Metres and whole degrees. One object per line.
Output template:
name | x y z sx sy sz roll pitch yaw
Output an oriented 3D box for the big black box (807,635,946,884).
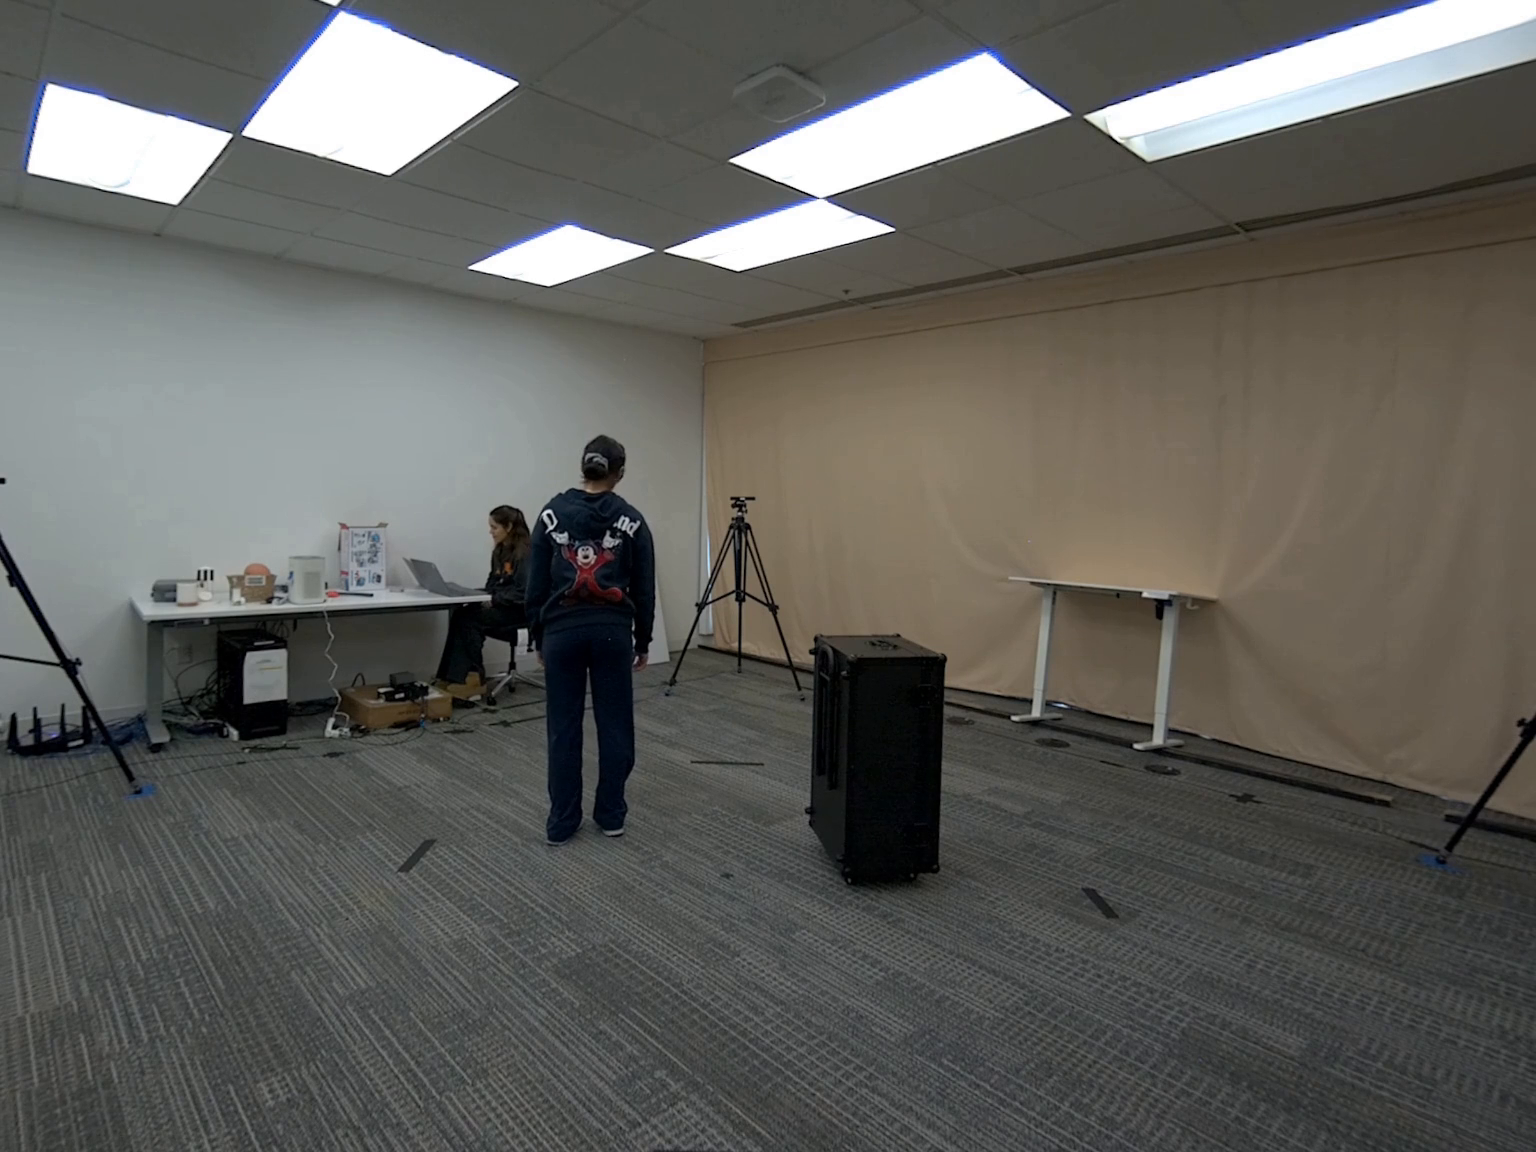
big black box | 0.388 0.685 3.194 0.393 0.859 0.527 0 4 -11
